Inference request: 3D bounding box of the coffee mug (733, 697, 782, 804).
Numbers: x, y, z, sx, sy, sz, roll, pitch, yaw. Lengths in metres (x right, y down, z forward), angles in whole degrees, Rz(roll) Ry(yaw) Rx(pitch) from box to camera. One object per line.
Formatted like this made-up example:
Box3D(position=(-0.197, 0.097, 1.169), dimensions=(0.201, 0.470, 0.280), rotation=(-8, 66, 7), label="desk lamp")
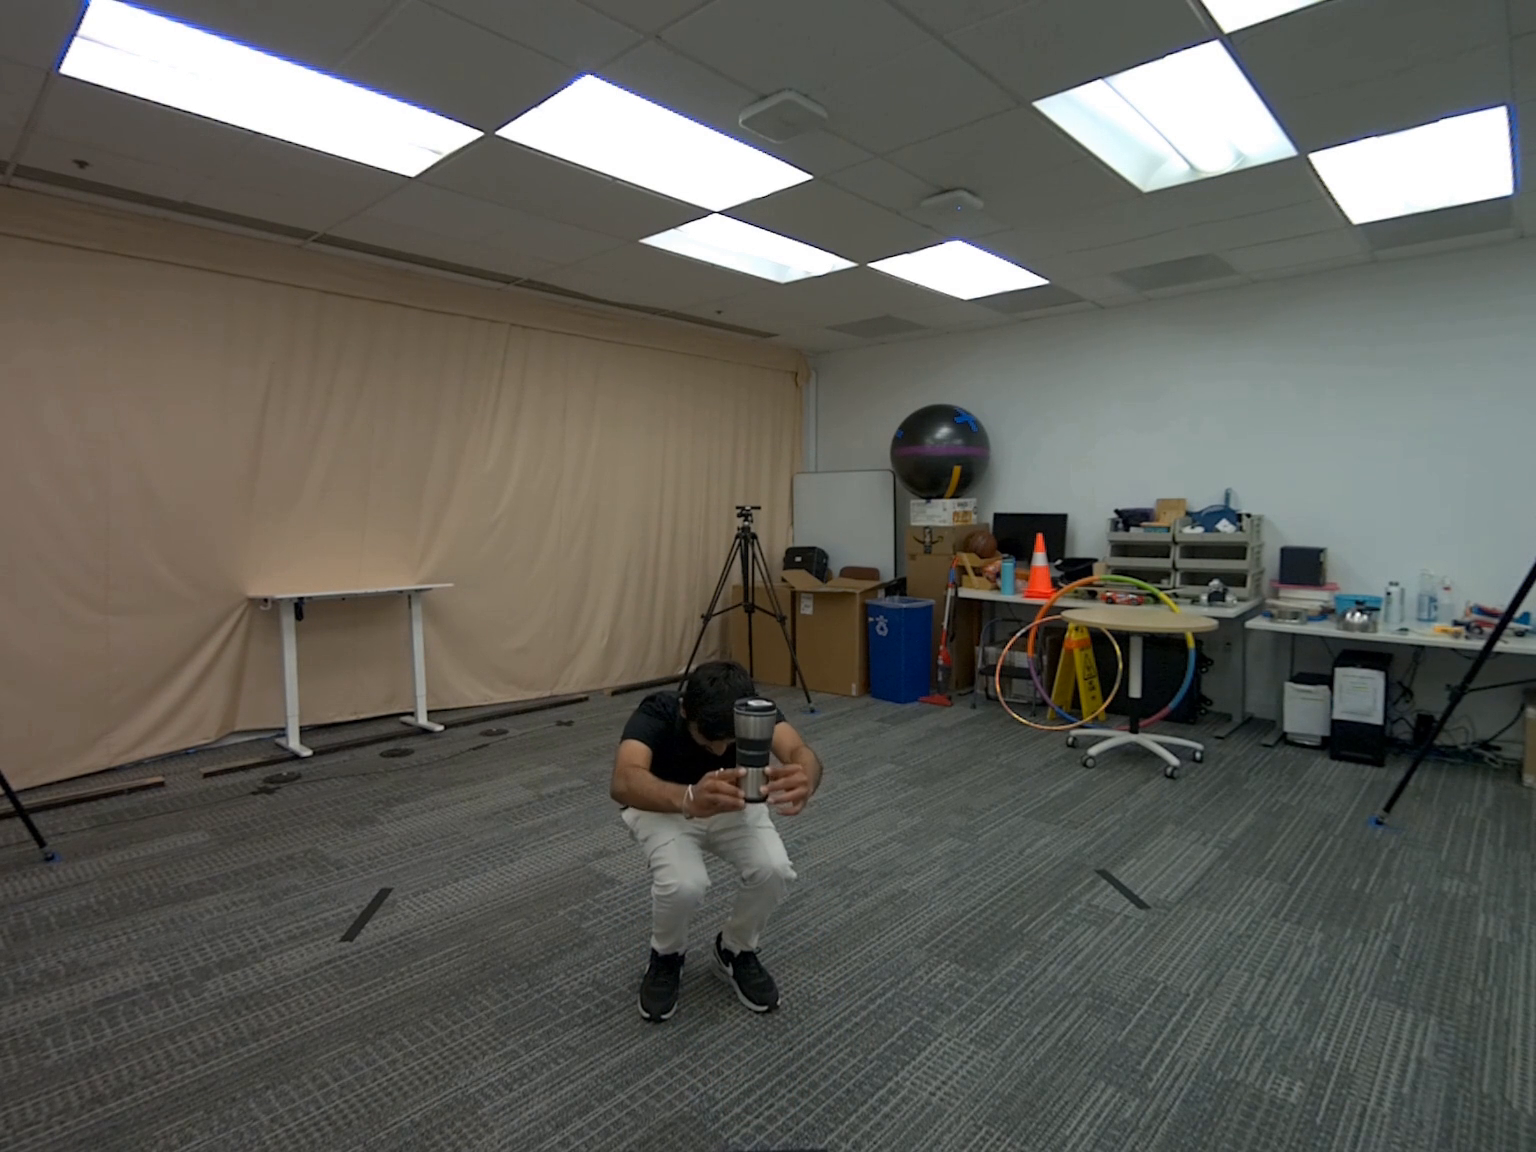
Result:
Box3D(position=(-0.009, 0.358, 1.753), dimensions=(0.118, 0.203, 0.090), rotation=(-1, 2, -33), label="coffee mug")
